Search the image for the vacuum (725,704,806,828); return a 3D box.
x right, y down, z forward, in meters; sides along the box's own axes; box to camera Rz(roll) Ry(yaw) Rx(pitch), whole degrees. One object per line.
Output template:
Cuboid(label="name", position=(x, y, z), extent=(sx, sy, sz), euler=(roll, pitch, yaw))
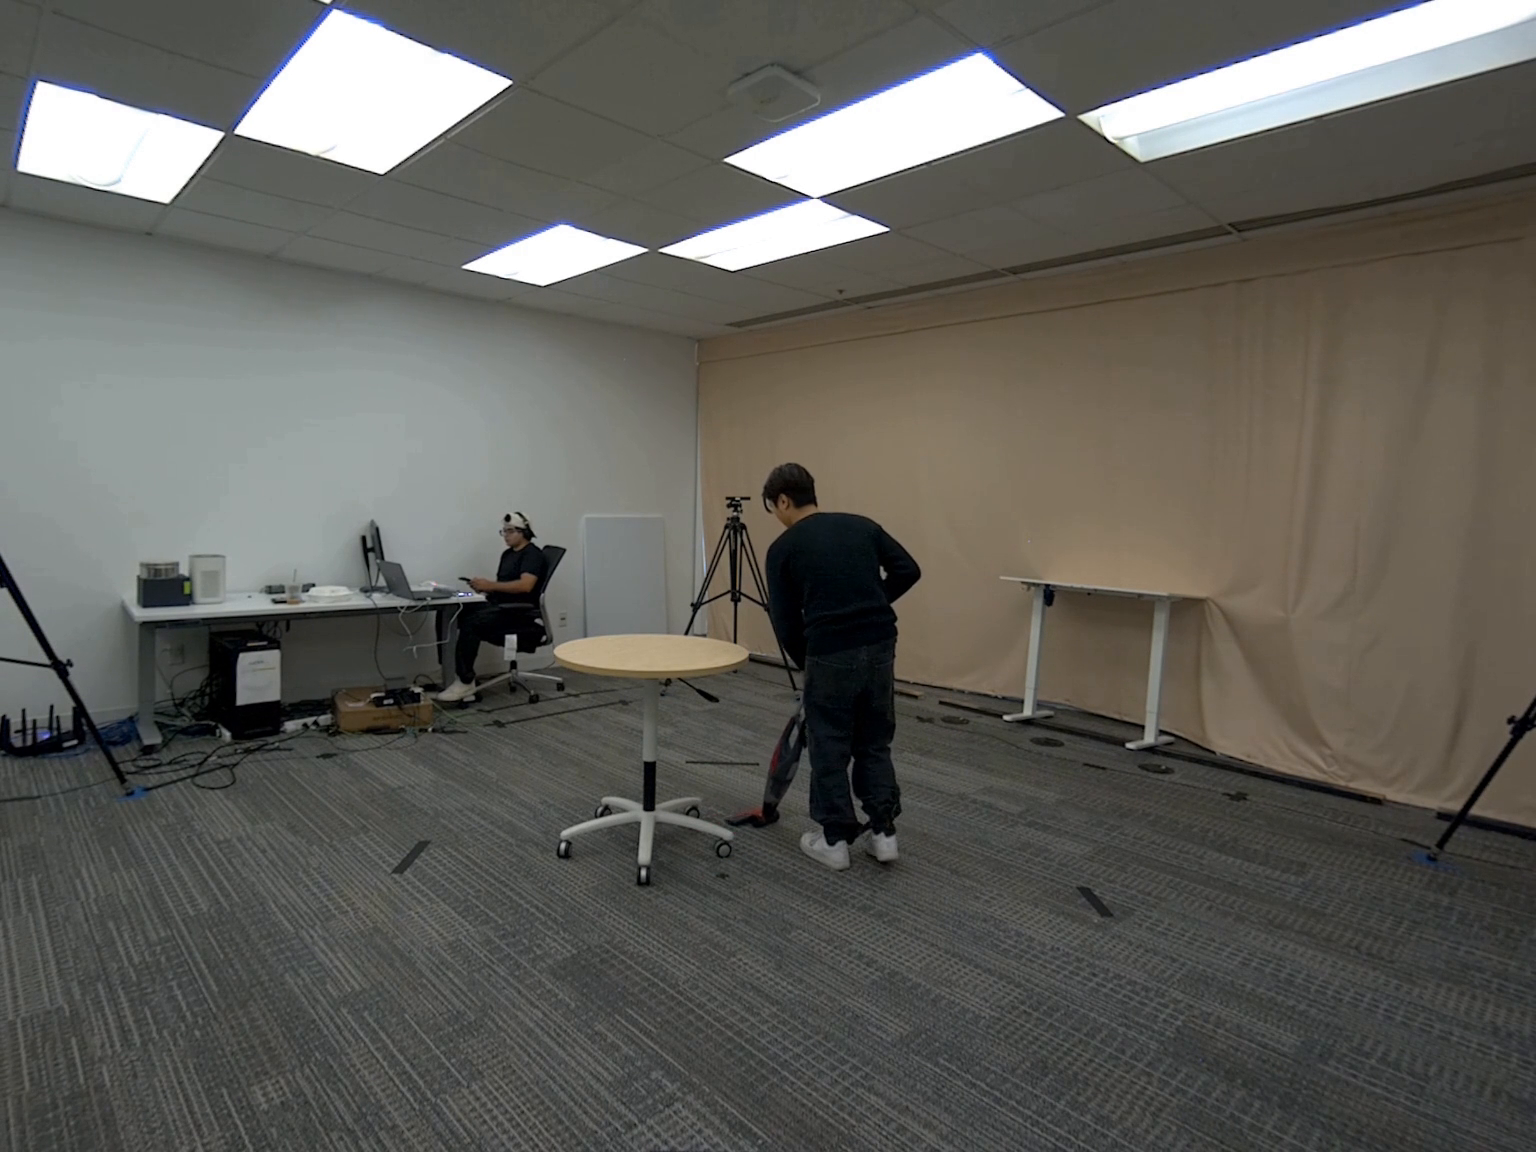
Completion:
Cuboid(label="vacuum", position=(0.126, 0.606, 3.489), extent=(0.148, 1.042, 0.247), euler=(33, 21, 30))
